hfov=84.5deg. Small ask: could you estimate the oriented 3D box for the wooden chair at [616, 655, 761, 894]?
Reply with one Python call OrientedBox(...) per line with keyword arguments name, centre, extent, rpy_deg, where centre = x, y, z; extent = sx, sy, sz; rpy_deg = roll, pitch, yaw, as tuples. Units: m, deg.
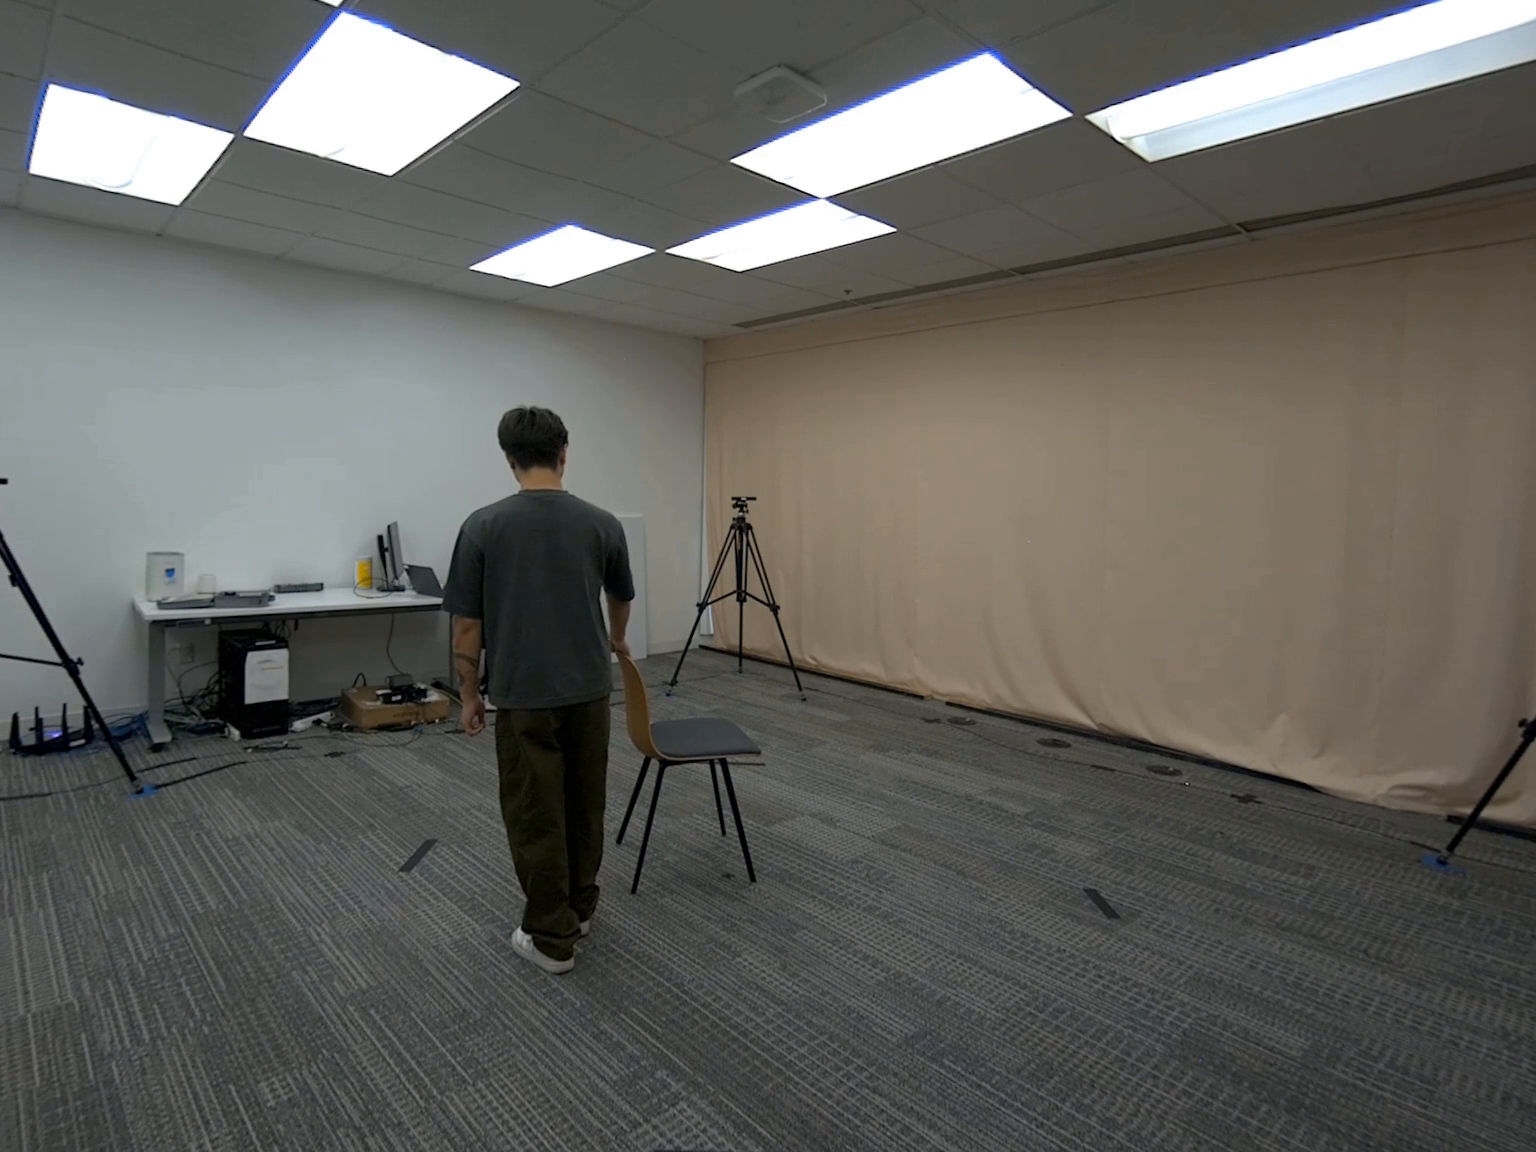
OrientedBox(name="wooden chair", centre=(-0.314, 0.668, 3.187), extent=(0.517, 0.875, 0.485), rpy_deg=(-4, 4, -16))
